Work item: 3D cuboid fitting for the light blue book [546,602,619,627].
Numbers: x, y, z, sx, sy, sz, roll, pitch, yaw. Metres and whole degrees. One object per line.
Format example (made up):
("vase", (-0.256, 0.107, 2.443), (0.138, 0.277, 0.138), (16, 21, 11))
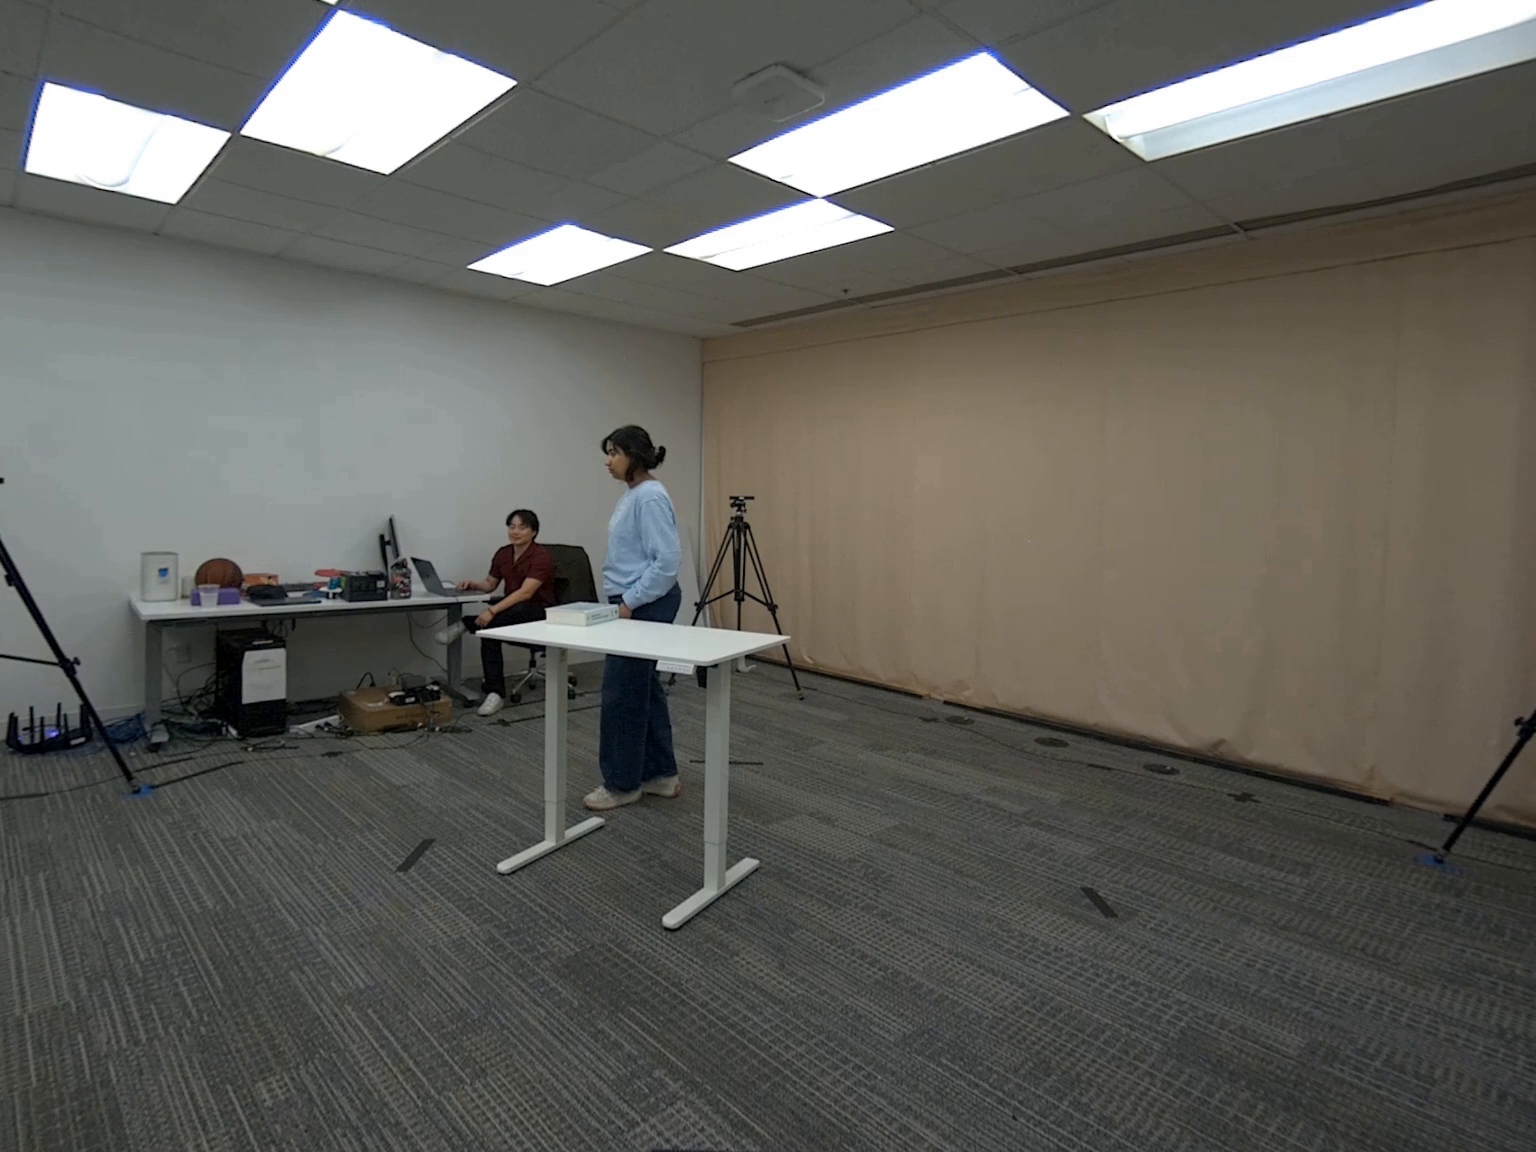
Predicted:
("light blue book", (-0.779, 0.154, 3.416), (0.195, 0.059, 0.257), (4, 6, 21))
